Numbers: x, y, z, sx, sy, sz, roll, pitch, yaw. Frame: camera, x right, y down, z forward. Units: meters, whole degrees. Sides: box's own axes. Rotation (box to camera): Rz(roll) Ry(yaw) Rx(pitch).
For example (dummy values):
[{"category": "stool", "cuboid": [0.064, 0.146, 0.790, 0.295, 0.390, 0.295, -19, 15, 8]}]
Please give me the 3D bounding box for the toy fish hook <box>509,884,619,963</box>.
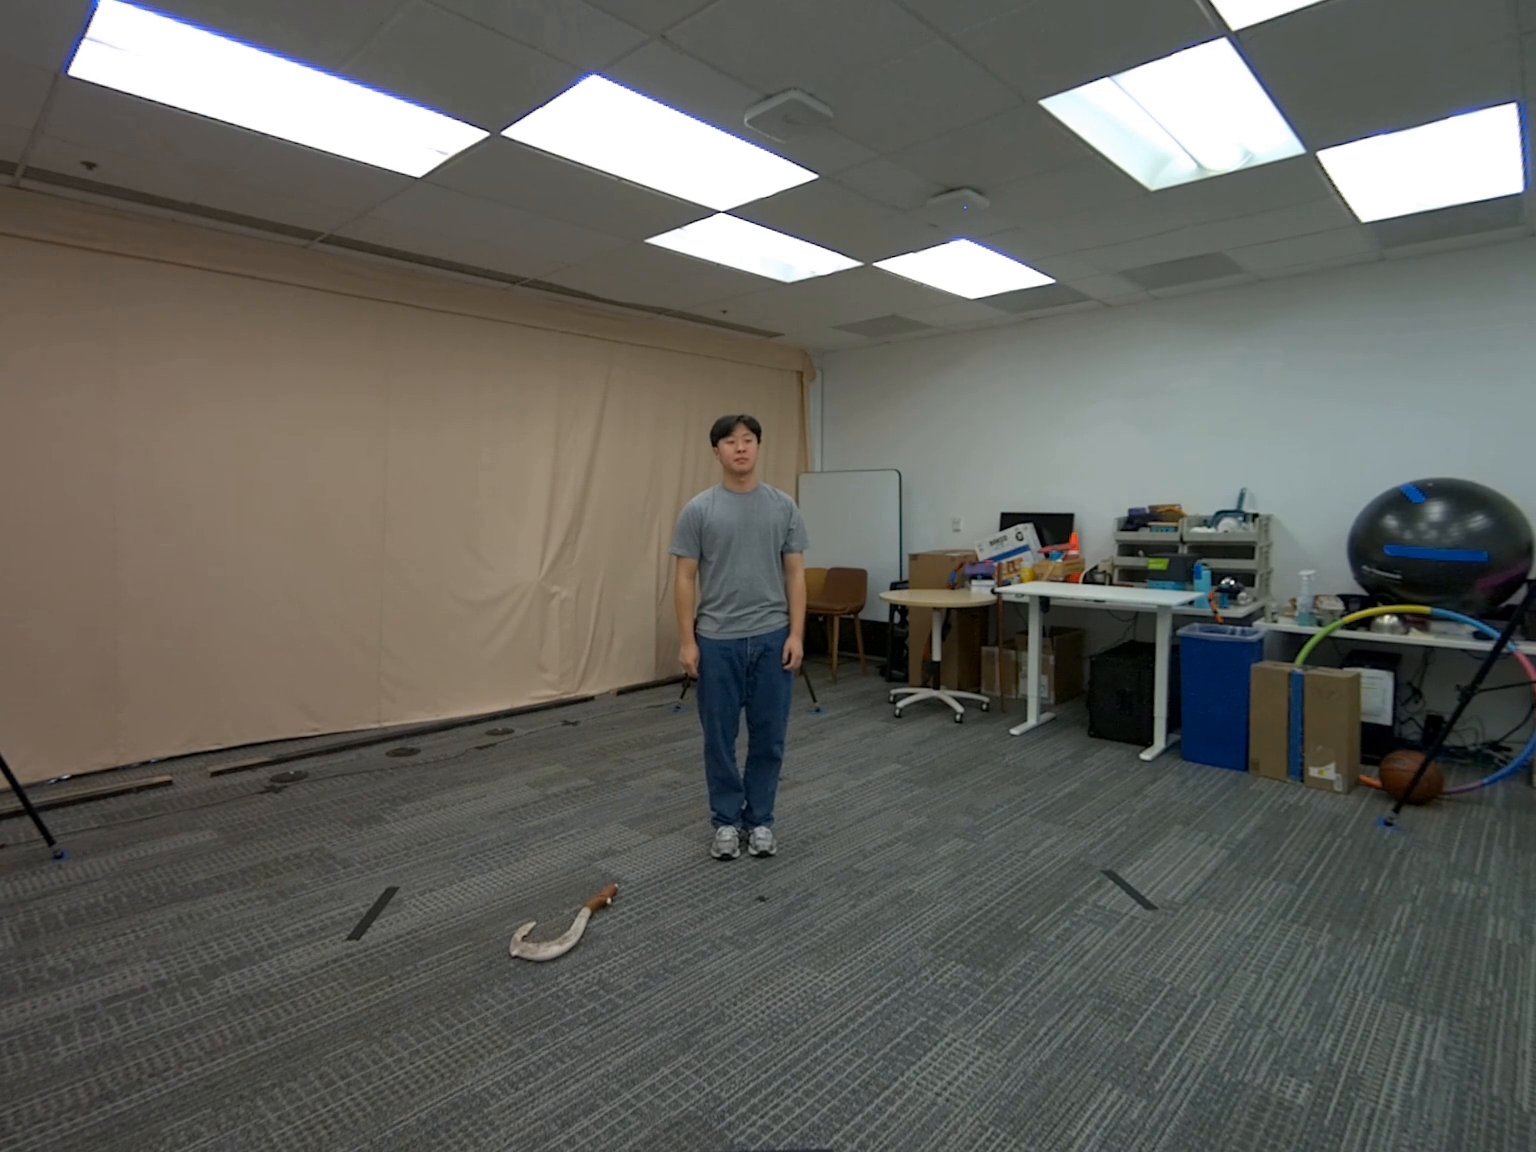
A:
[{"category": "toy fish hook", "cuboid": [-0.676, 1.140, 2.813, 0.229, 0.048, 0.498, 2, 5, 17]}]
